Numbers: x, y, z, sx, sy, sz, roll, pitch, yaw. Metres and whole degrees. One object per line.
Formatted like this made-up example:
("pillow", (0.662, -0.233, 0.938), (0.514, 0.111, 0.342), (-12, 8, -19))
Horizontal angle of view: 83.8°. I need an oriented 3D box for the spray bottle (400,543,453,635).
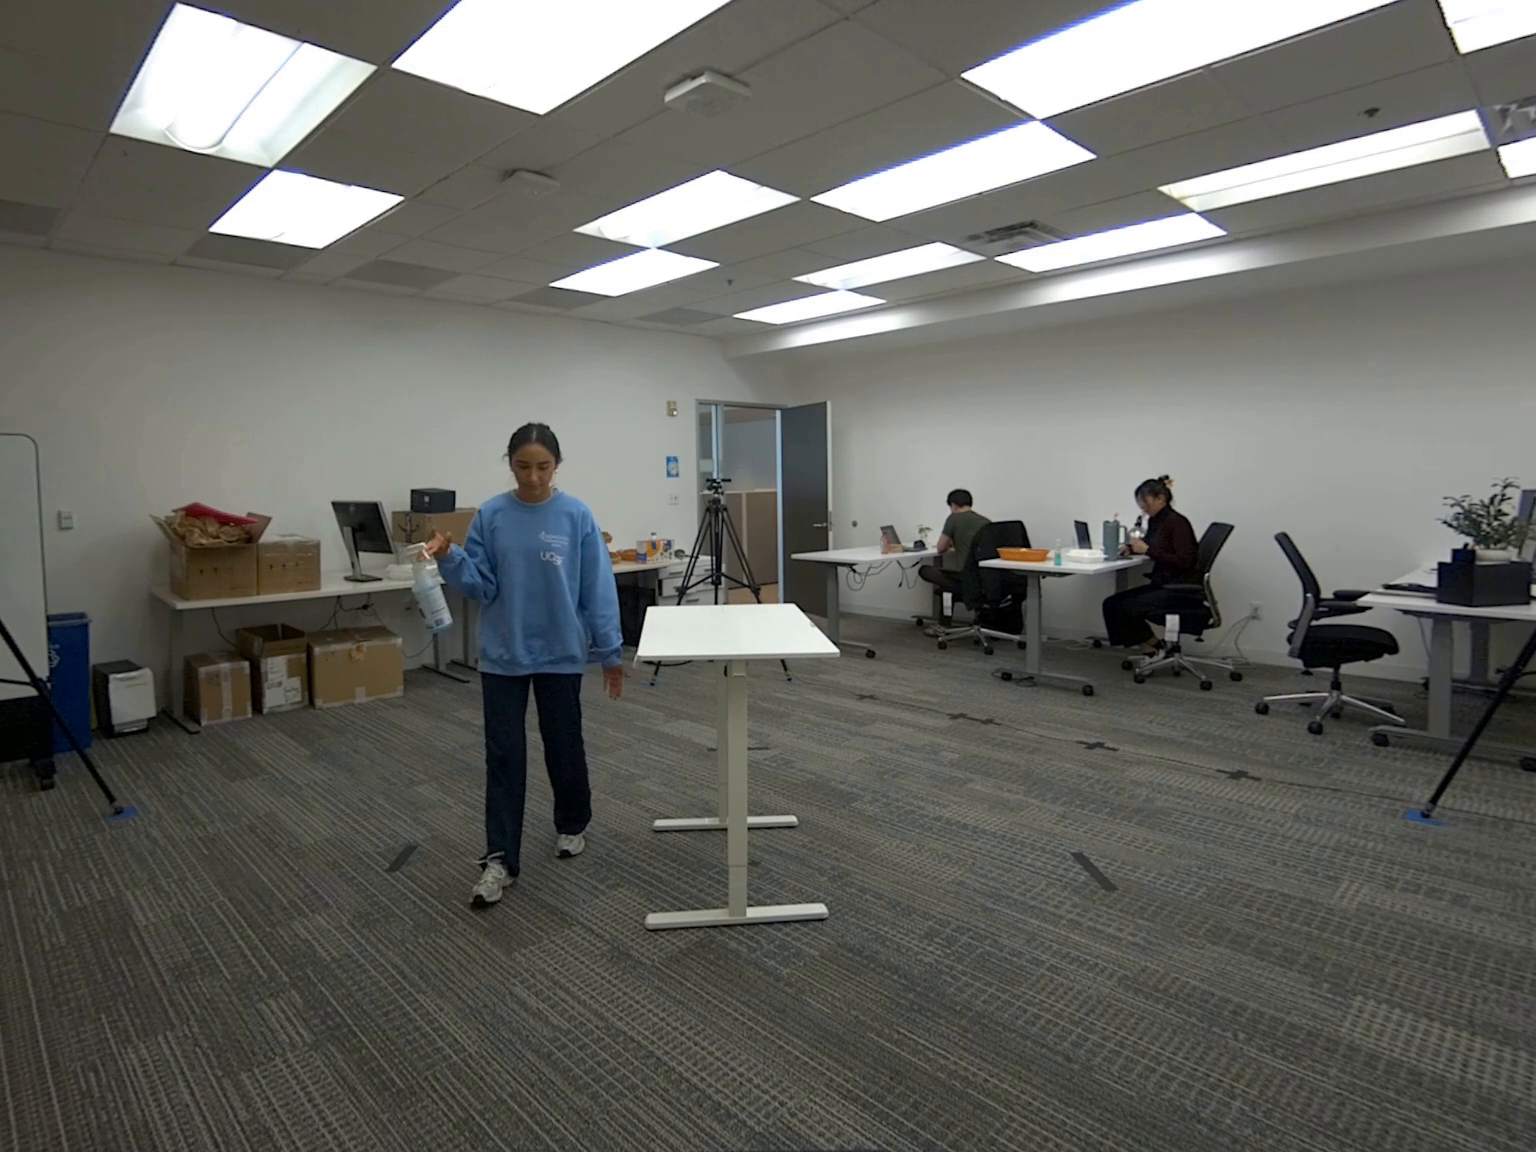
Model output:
("spray bottle", (-1.124, 0.035, 2.772), (0.093, 0.292, 0.086), (1, 21, 39))
